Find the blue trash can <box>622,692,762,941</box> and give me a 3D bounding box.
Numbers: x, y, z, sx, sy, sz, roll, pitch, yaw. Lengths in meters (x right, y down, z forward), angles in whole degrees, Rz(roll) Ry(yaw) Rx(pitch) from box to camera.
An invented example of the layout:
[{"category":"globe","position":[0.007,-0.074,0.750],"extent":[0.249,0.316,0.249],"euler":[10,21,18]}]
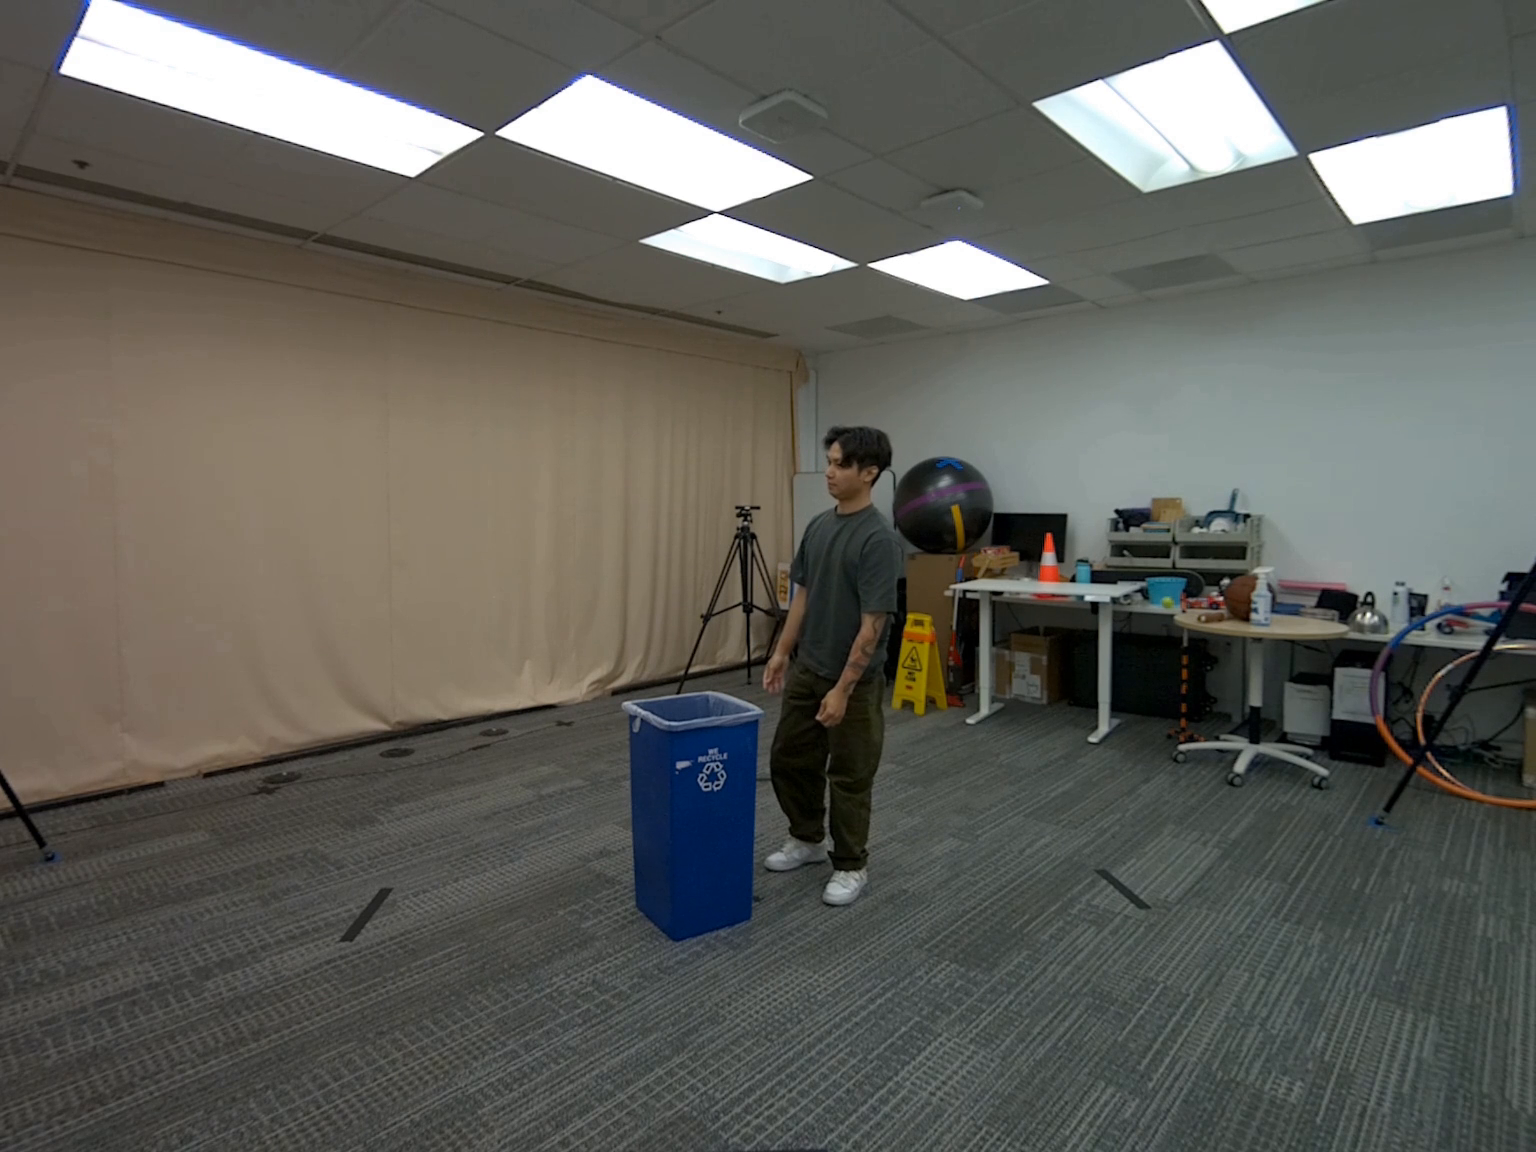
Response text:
[{"category":"blue trash can","position":[-0.249,0.798,2.867],"extent":[0.367,0.712,0.385],"euler":[-2,3,-33]}]
